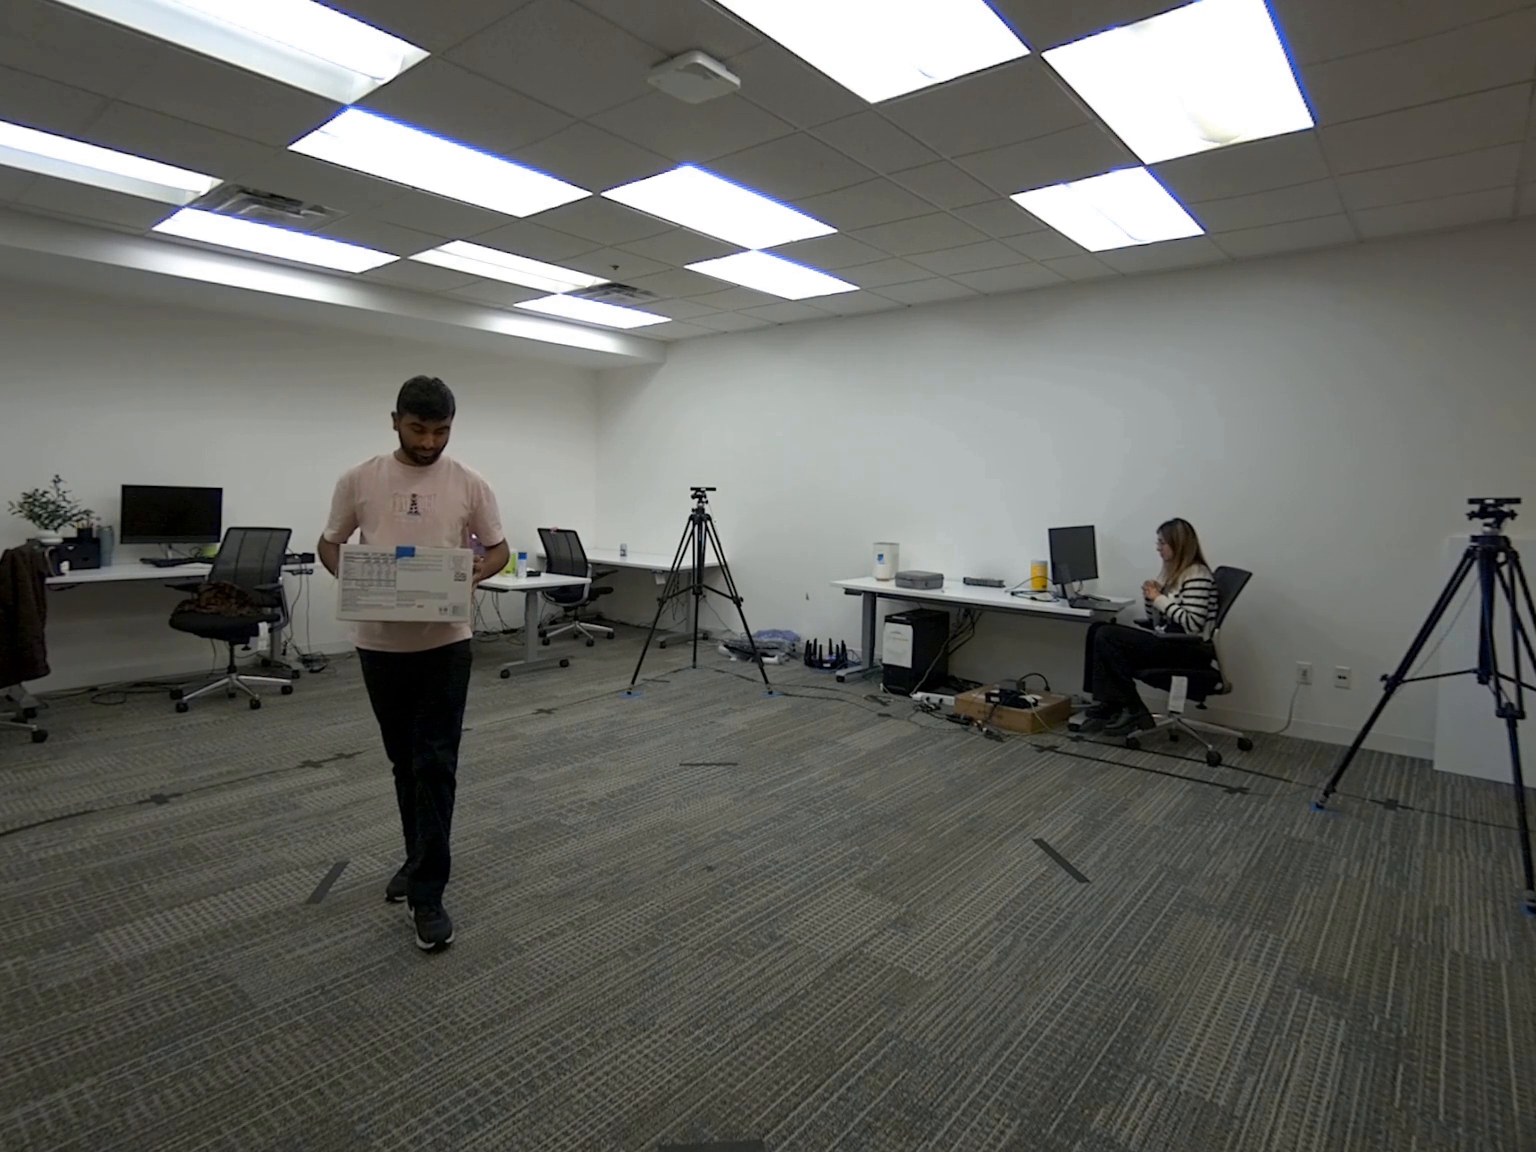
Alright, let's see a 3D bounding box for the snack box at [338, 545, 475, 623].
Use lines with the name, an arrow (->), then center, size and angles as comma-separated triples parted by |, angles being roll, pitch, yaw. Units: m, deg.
snack box -> -1.052, 0.023, 2.466 | 0.333, 0.206, 0.412 | 2, -3, -20
